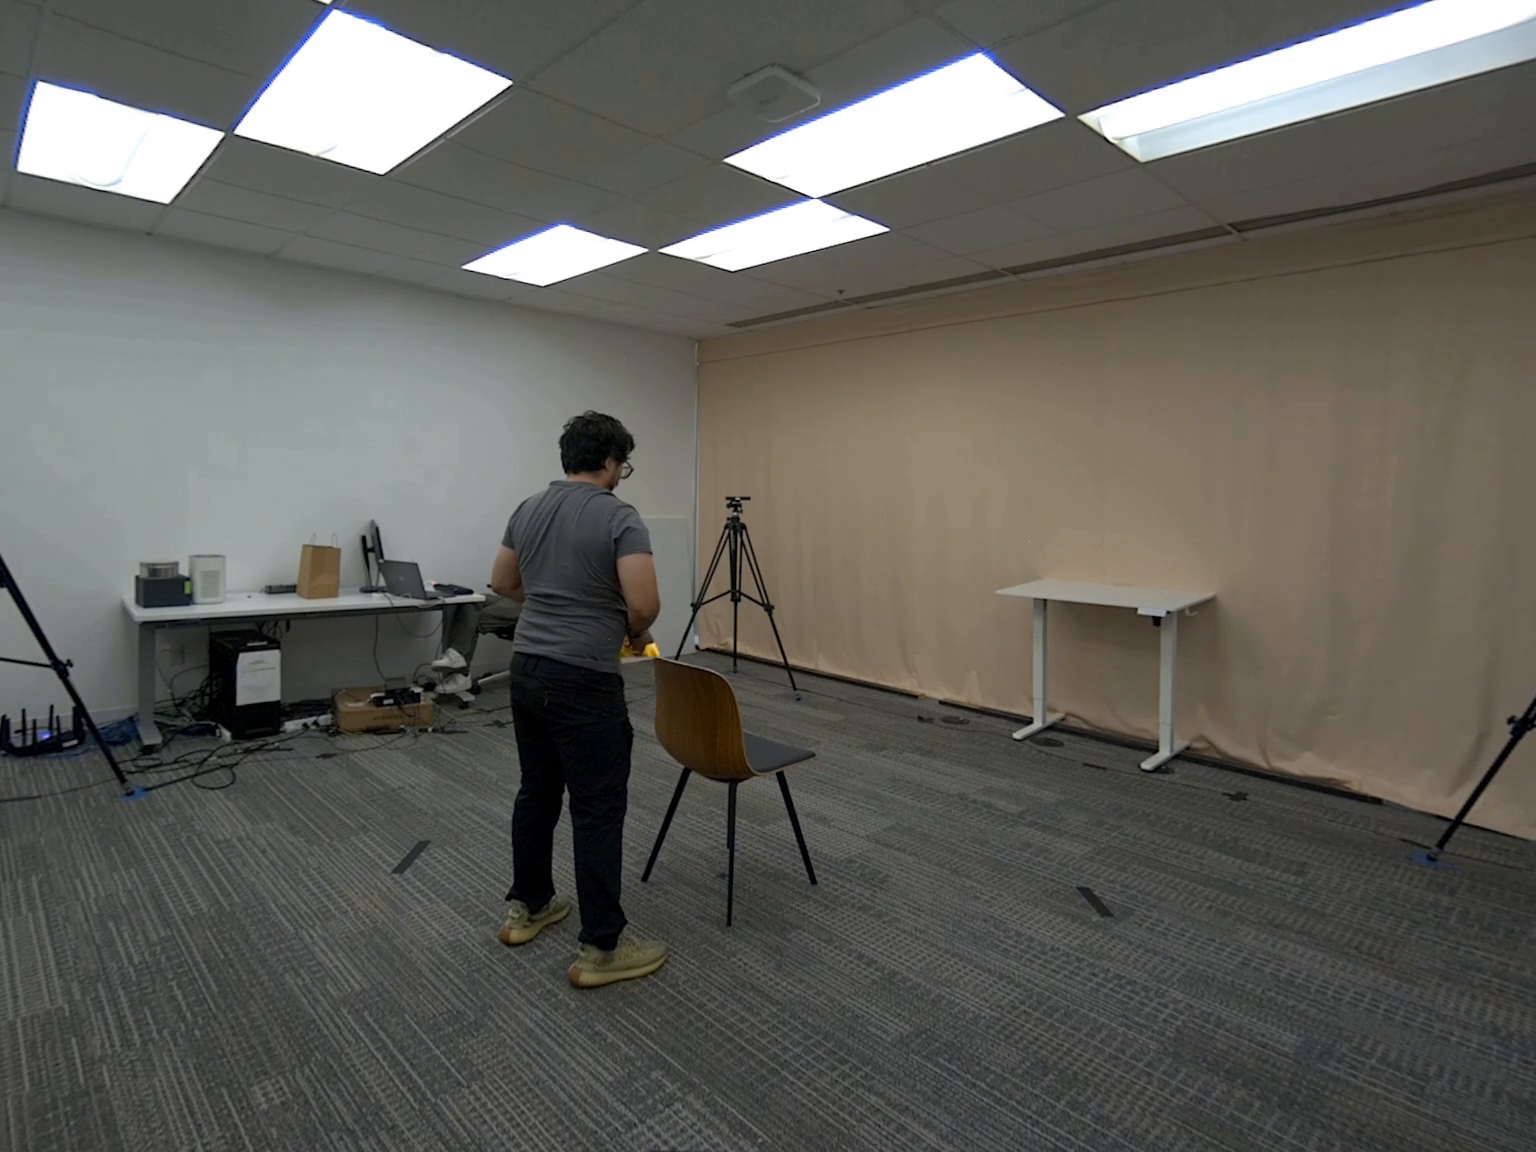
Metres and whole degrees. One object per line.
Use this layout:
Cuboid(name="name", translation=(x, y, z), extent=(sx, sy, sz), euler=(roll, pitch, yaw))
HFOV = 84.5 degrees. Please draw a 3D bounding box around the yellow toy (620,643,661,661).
Cuboid(name="yellow toy", translation=(-0.469, 0.159, 2.794), extent=(0.197, 0.232, 0.199), euler=(-7, -9, 42))
